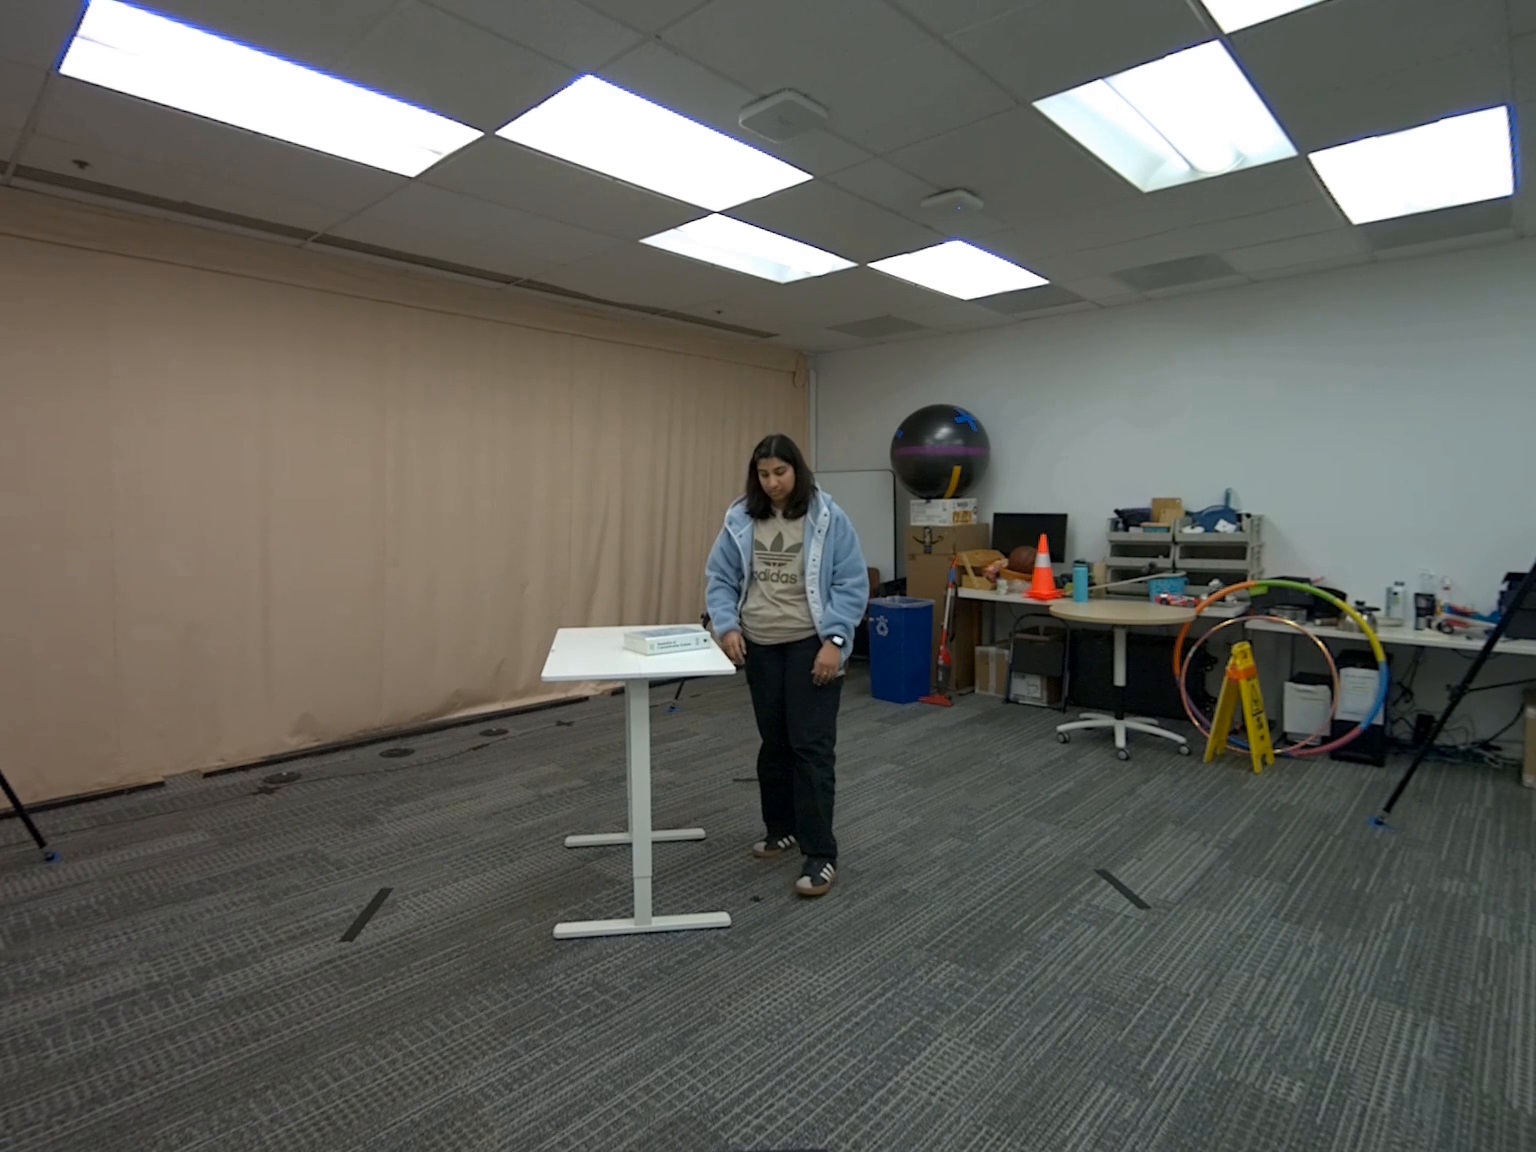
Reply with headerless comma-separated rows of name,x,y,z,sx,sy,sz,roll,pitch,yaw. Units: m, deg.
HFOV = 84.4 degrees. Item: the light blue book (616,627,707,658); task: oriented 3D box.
light blue book,-0.384,0.234,3.025,0.253,0.059,0.197,-3,6,-34
